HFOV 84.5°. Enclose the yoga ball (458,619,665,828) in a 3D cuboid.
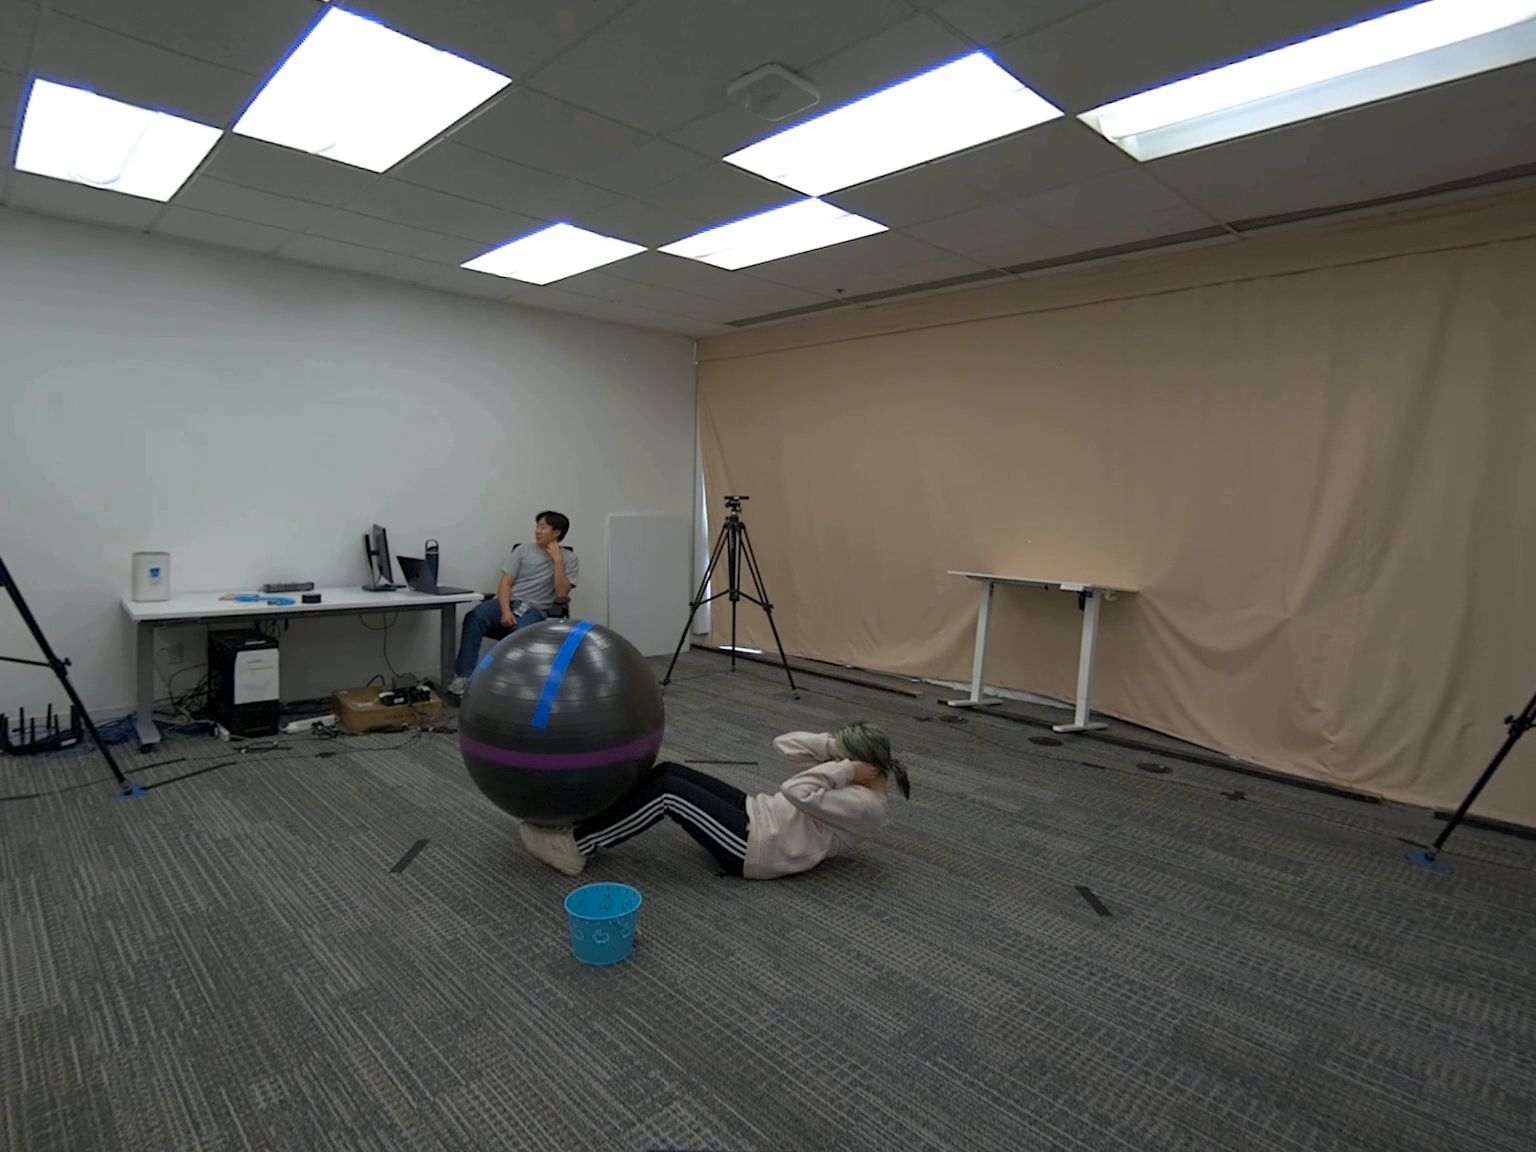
[{"bbox_3d":[-0.780,0.546,3.161,0.757,0.756,0.761,1,4,-1],"label":"yoga ball"}]
